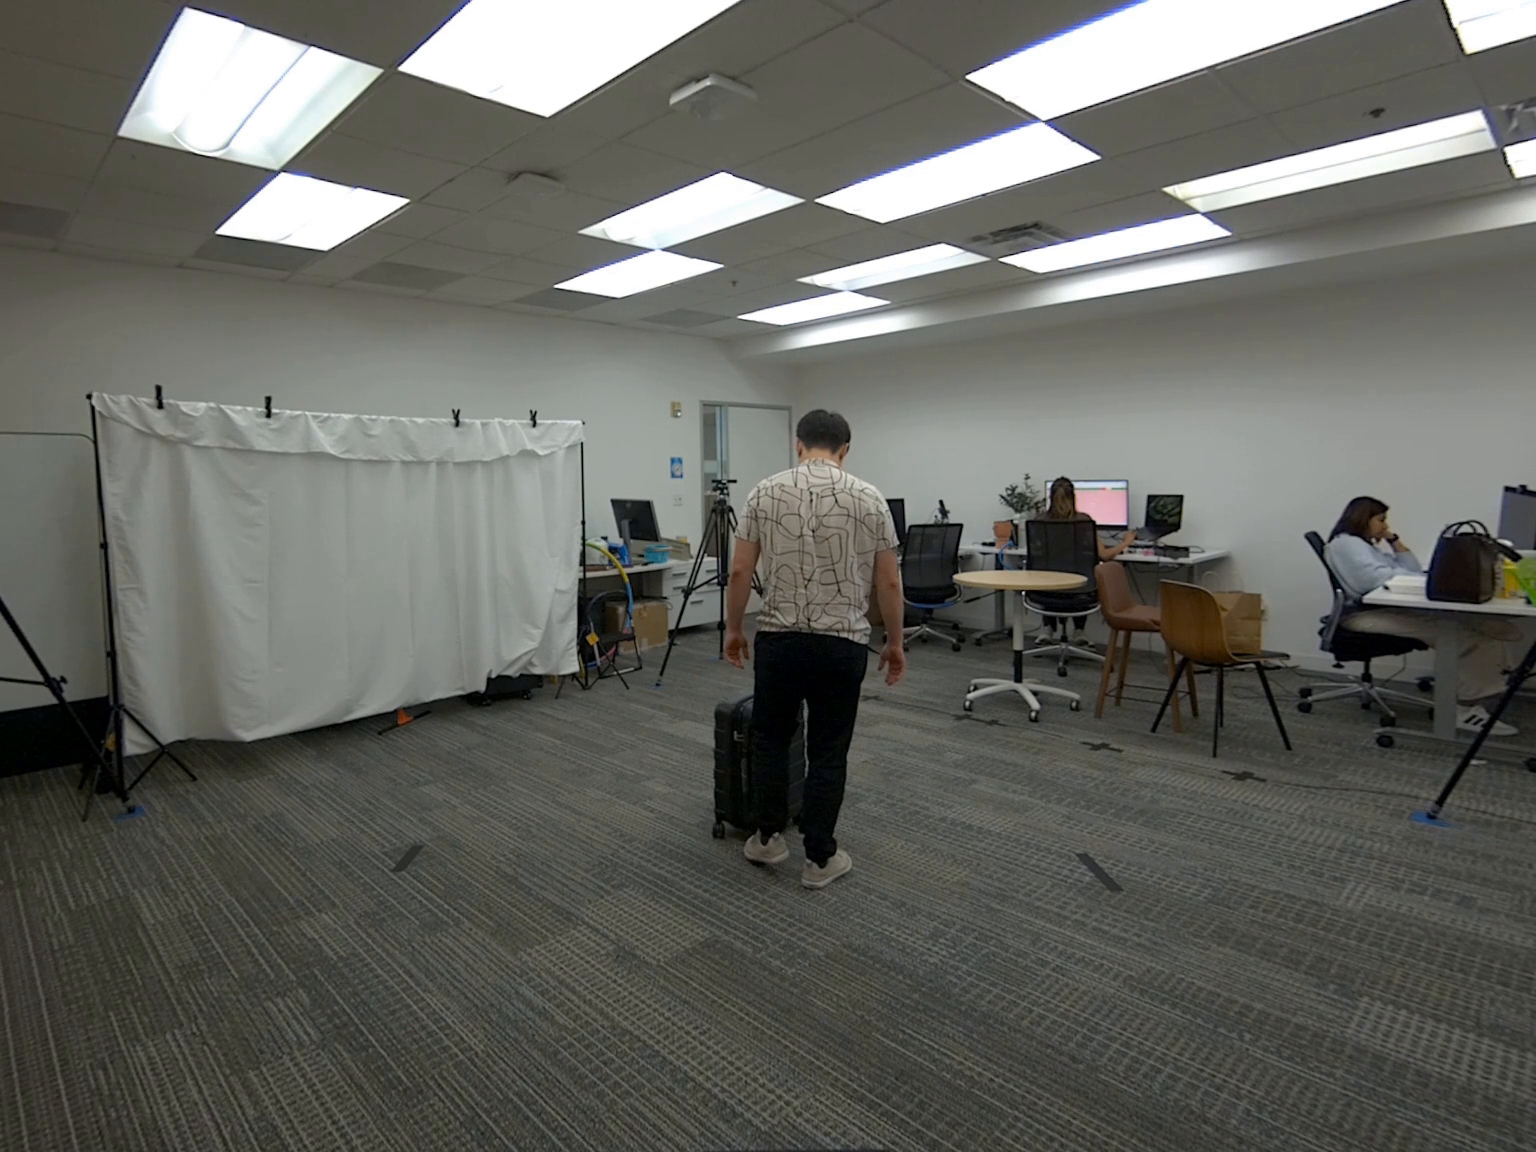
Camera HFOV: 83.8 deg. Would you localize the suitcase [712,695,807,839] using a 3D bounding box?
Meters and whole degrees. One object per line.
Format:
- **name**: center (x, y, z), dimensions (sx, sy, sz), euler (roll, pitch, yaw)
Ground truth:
- **suitcase**: center (-0.032, 0.738, 3.410), dimensions (0.255, 0.548, 0.366), euler (1, 4, 32)
